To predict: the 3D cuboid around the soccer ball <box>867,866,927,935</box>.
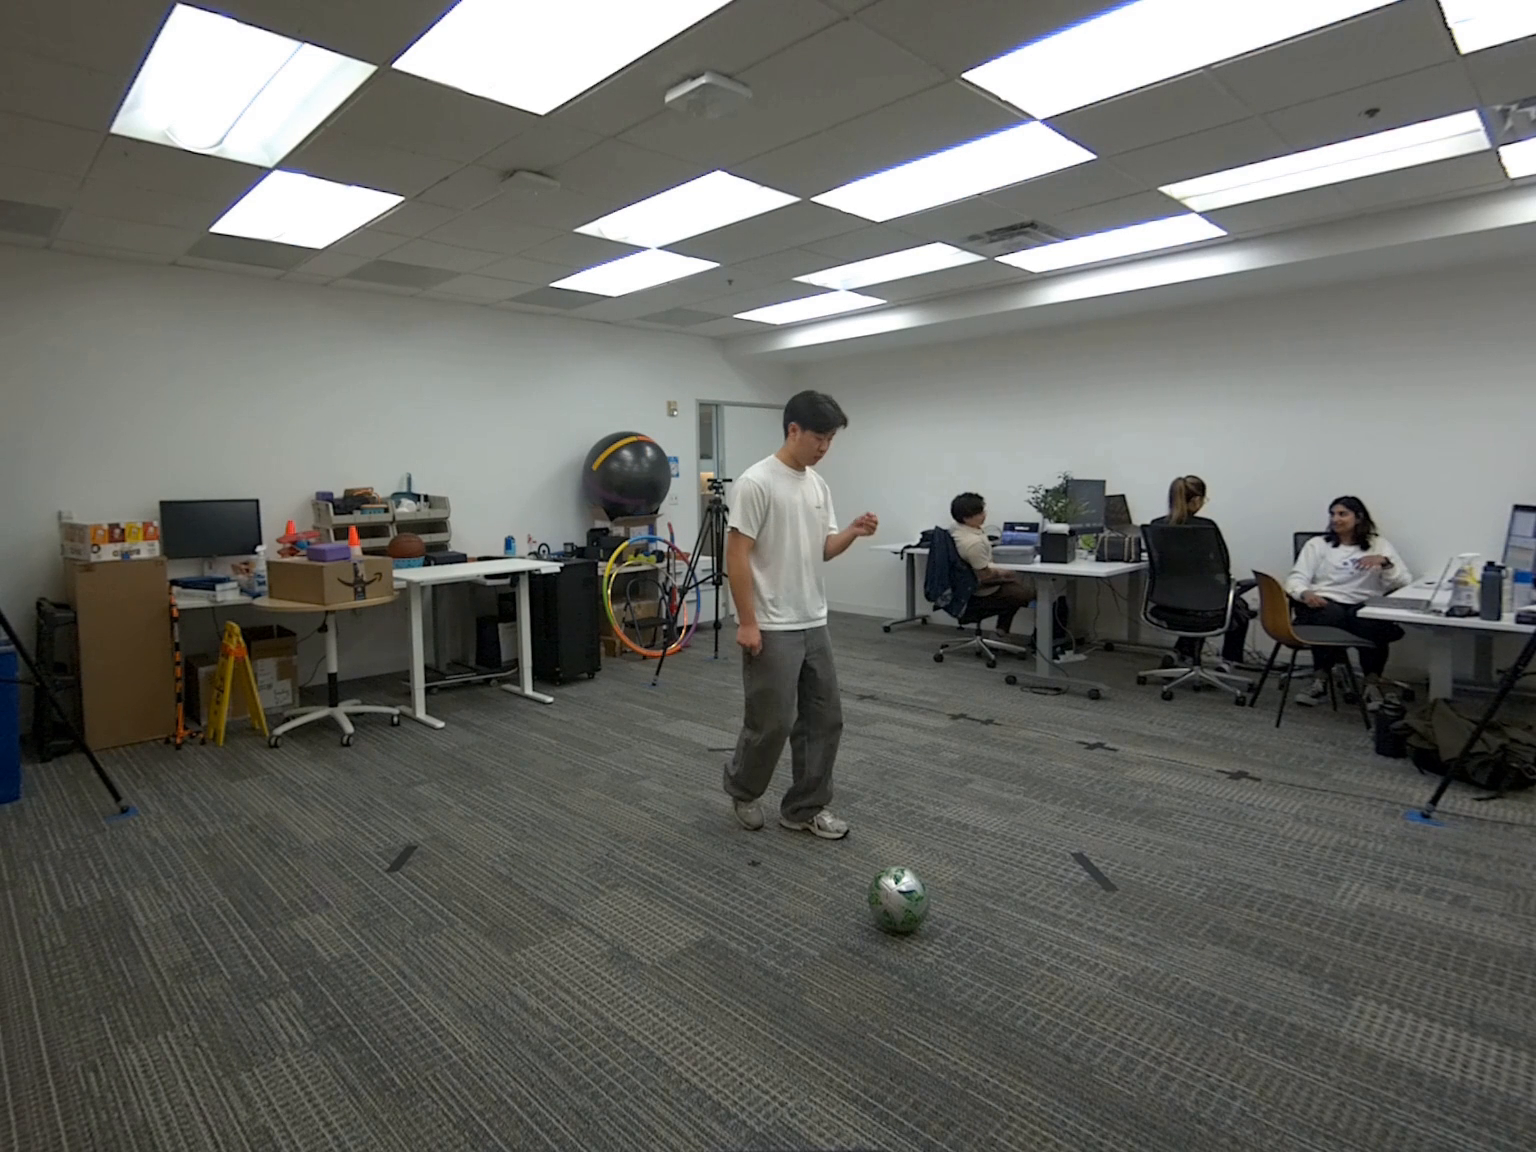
[{"bbox_3d":[0.410,1.004,2.640,0.187,0.187,0.188,-1,5,-2],"label":"soccer ball"}]
